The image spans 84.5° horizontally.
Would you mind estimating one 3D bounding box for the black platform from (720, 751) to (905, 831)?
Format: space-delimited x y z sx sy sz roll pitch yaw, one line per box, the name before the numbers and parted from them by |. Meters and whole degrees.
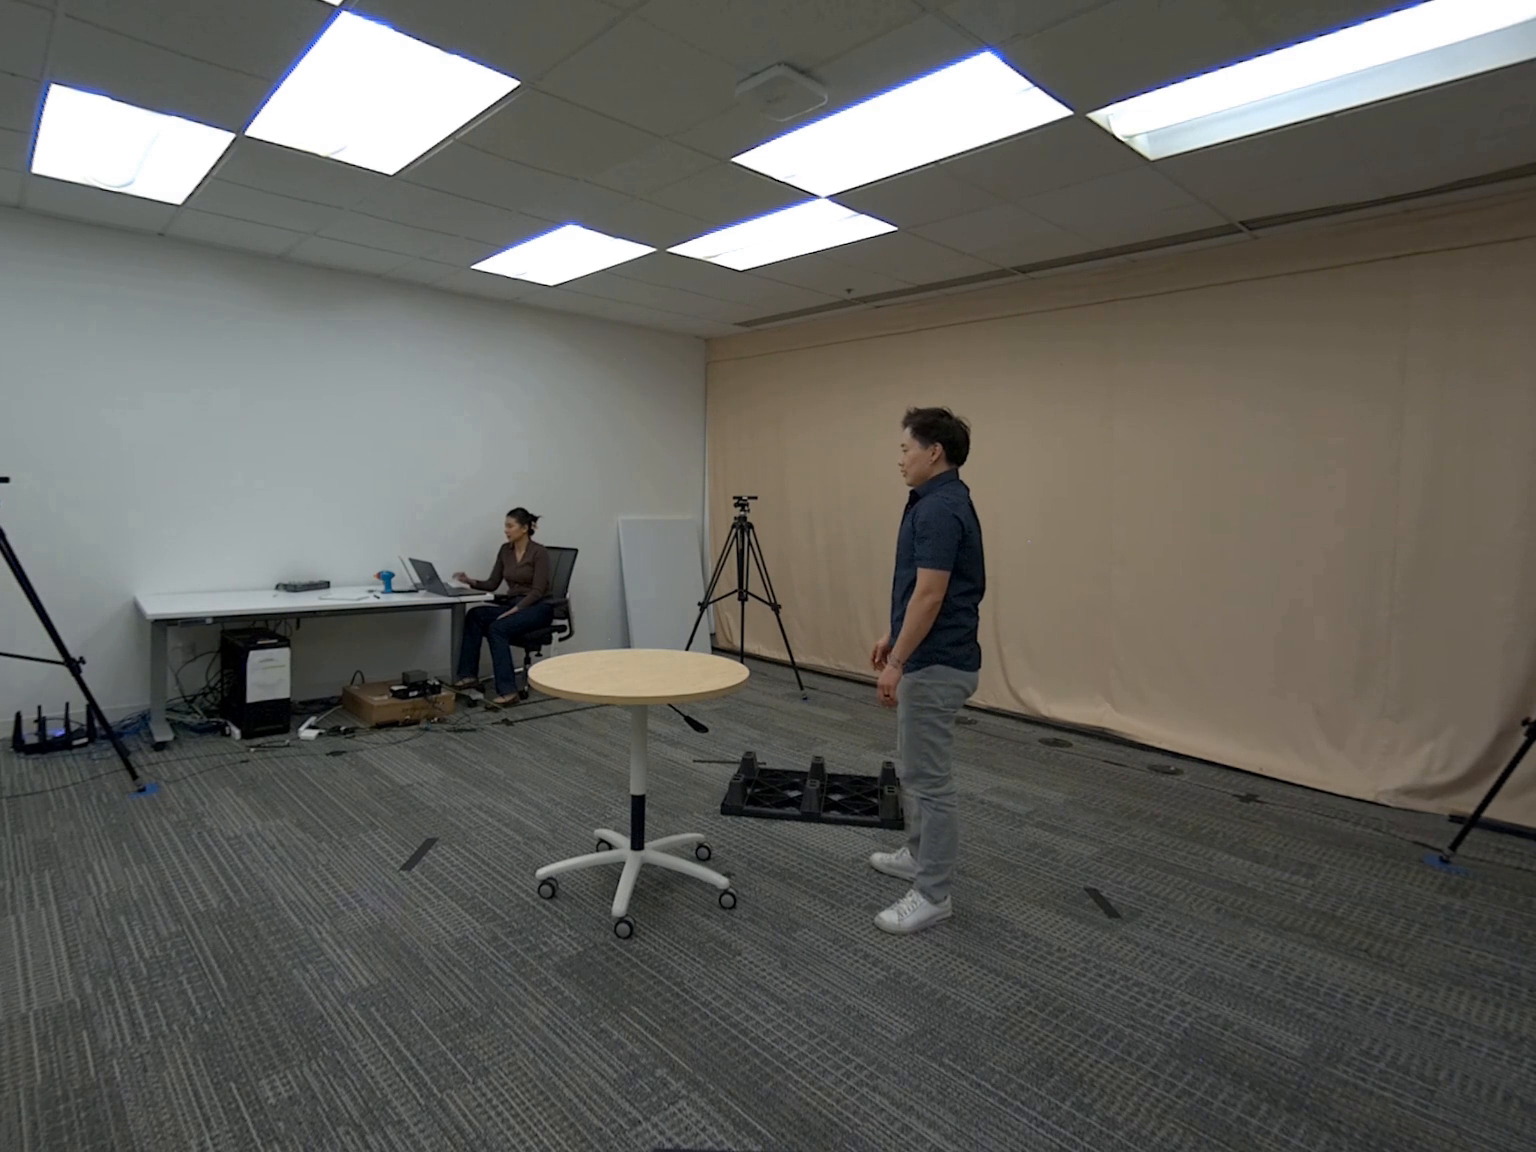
black platform | 0.214 0.972 3.928 0.811 0.143 0.603 2 5 8
